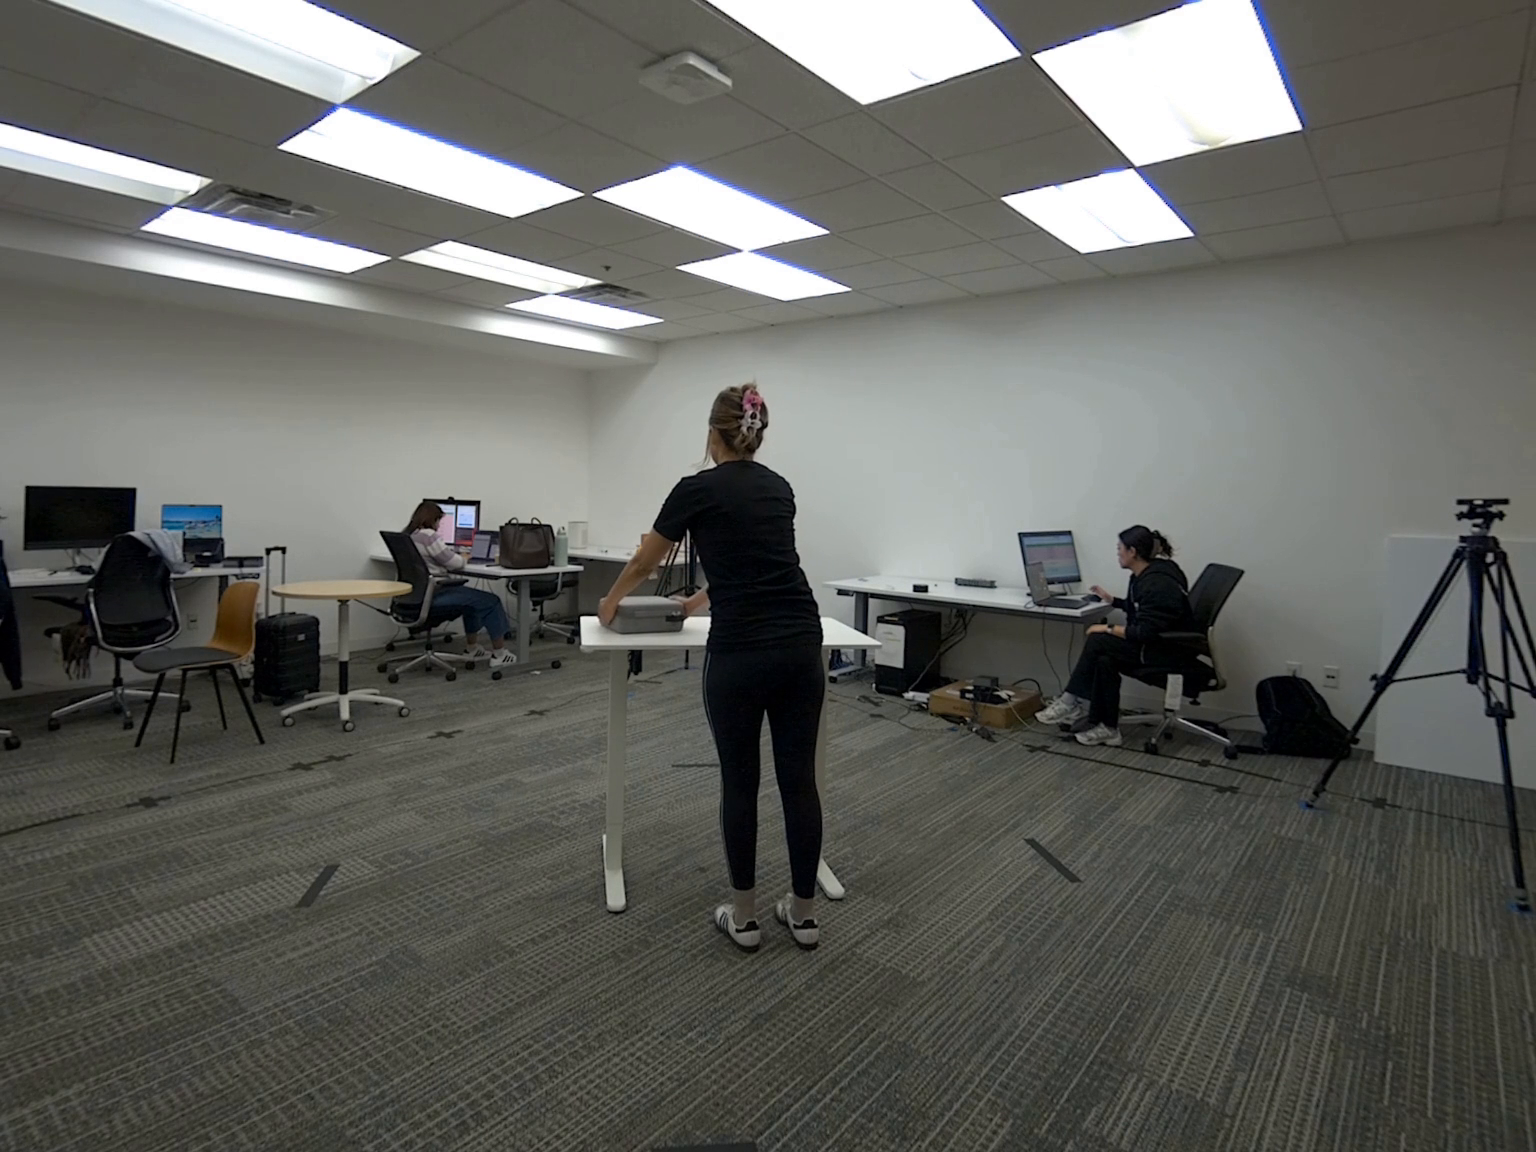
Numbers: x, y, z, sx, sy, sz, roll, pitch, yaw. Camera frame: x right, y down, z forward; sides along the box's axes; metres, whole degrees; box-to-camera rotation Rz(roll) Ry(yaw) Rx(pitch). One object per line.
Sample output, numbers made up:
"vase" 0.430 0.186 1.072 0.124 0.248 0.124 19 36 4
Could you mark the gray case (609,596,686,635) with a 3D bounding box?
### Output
"gray case" -0.471 0.133 3.060 0.251 0.104 0.268 -1 6 -24
